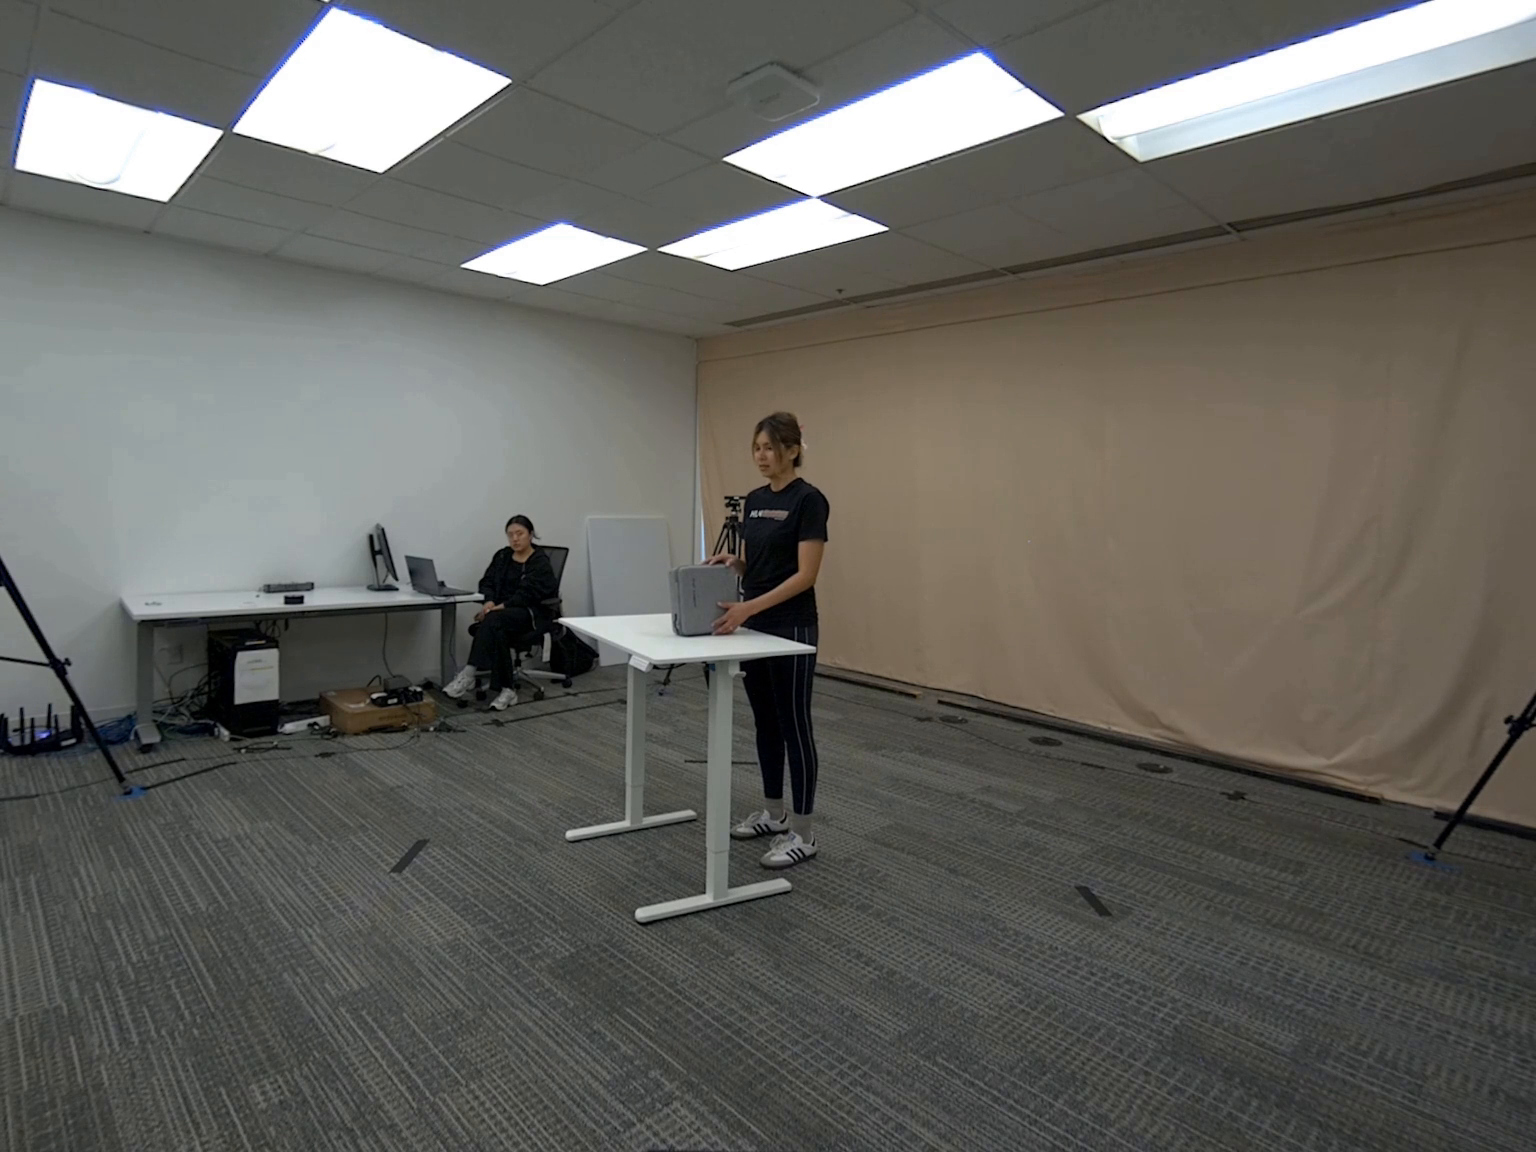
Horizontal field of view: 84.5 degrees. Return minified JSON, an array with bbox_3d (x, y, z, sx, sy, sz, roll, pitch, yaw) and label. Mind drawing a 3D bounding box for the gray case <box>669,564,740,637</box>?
[{"bbox_3d":[-0.256,0.085,3.134,0.255,0.257,0.106,-1,-4,-38],"label":"gray case"}]
